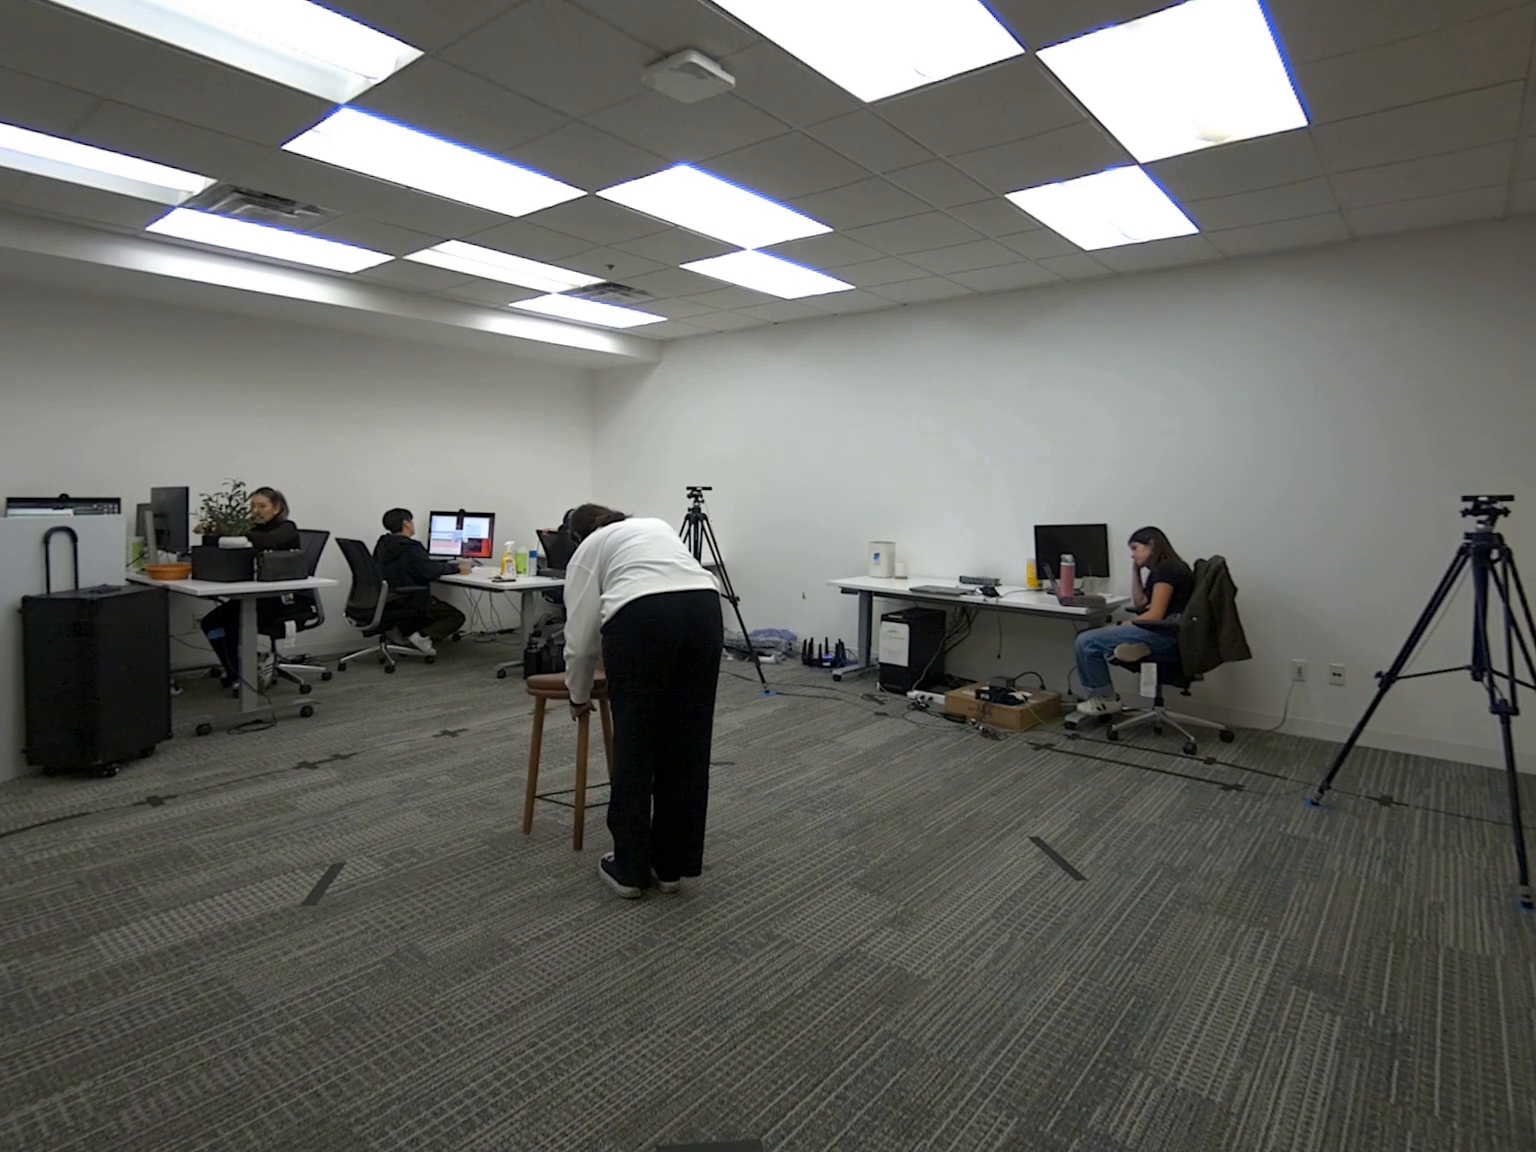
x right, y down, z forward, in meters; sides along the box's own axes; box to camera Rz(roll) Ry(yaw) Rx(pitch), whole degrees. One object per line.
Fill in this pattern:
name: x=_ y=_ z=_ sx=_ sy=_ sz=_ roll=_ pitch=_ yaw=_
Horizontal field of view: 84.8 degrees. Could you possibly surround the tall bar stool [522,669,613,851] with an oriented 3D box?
tall bar stool: x=-0.691 y=0.566 z=3.387 sx=0.452 sy=0.895 sz=0.469 roll=4 pitch=-8 yaw=-43
